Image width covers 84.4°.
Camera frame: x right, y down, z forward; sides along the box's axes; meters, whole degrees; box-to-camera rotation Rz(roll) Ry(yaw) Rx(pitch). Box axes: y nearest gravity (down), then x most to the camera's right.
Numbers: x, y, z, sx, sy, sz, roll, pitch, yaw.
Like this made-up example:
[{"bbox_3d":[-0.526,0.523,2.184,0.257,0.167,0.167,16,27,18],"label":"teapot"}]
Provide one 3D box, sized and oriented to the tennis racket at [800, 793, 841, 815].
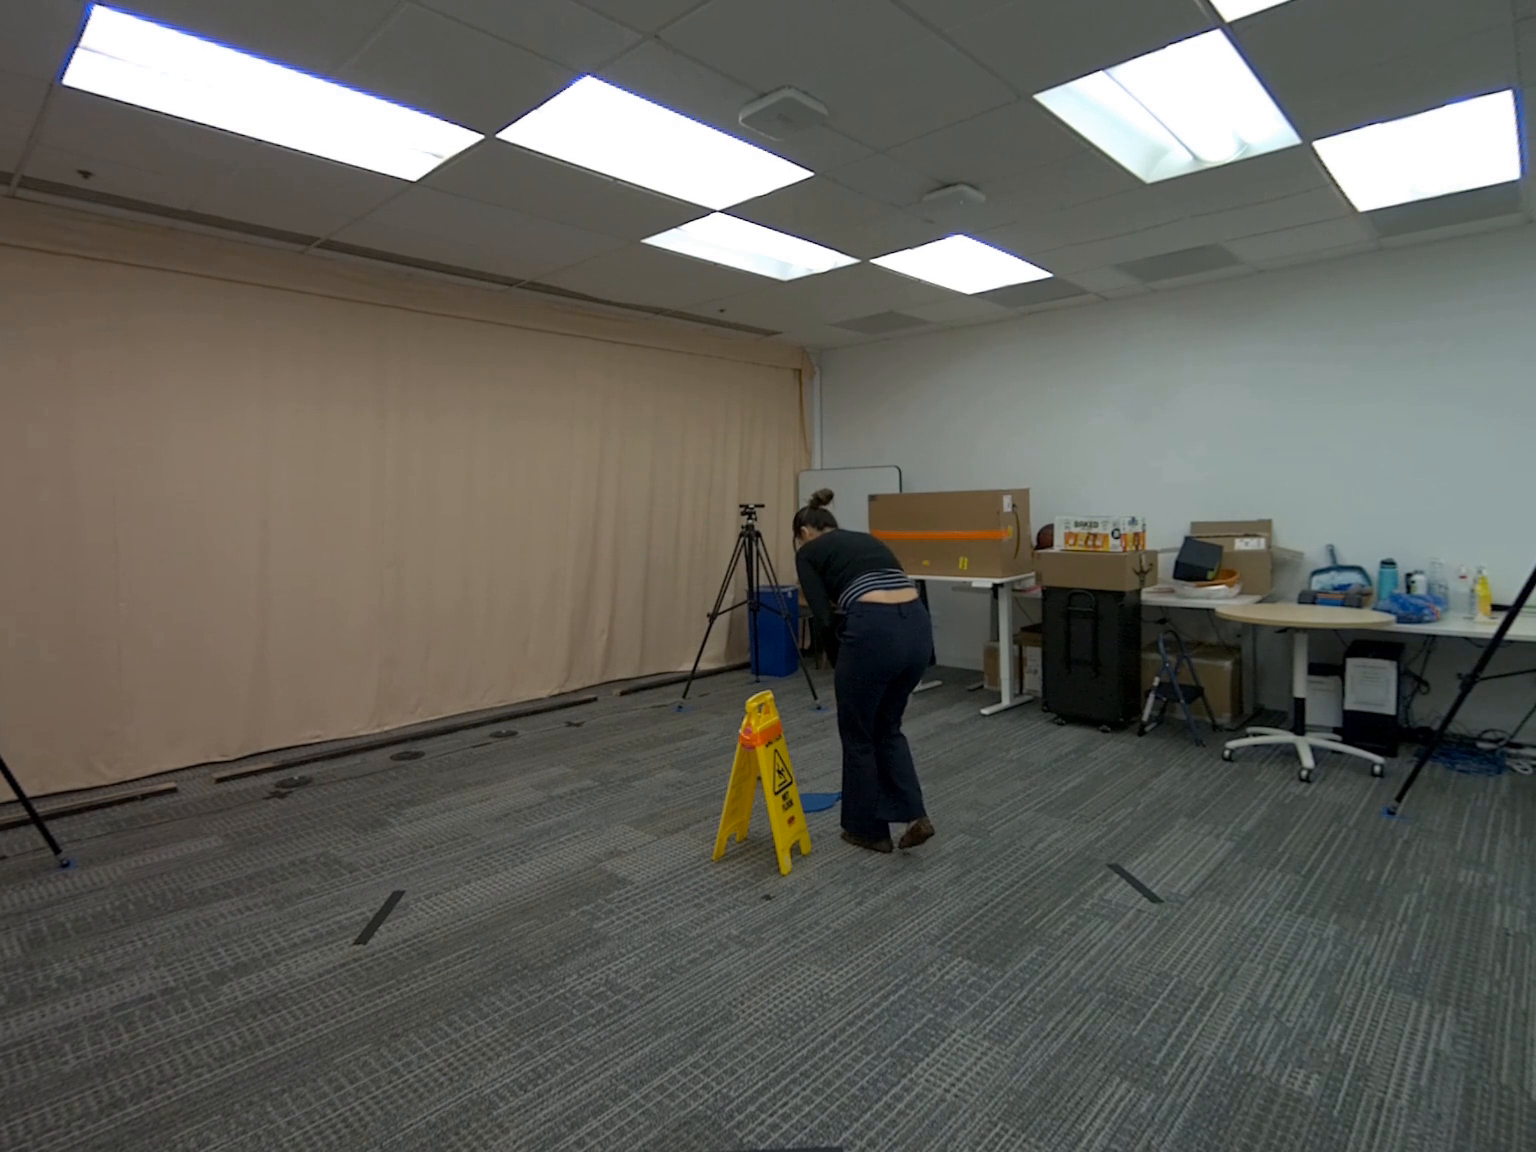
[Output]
[{"bbox_3d":[0.256,1.038,3.934,0.423,0.031,0.219,-5,6,-25],"label":"tennis racket"}]
